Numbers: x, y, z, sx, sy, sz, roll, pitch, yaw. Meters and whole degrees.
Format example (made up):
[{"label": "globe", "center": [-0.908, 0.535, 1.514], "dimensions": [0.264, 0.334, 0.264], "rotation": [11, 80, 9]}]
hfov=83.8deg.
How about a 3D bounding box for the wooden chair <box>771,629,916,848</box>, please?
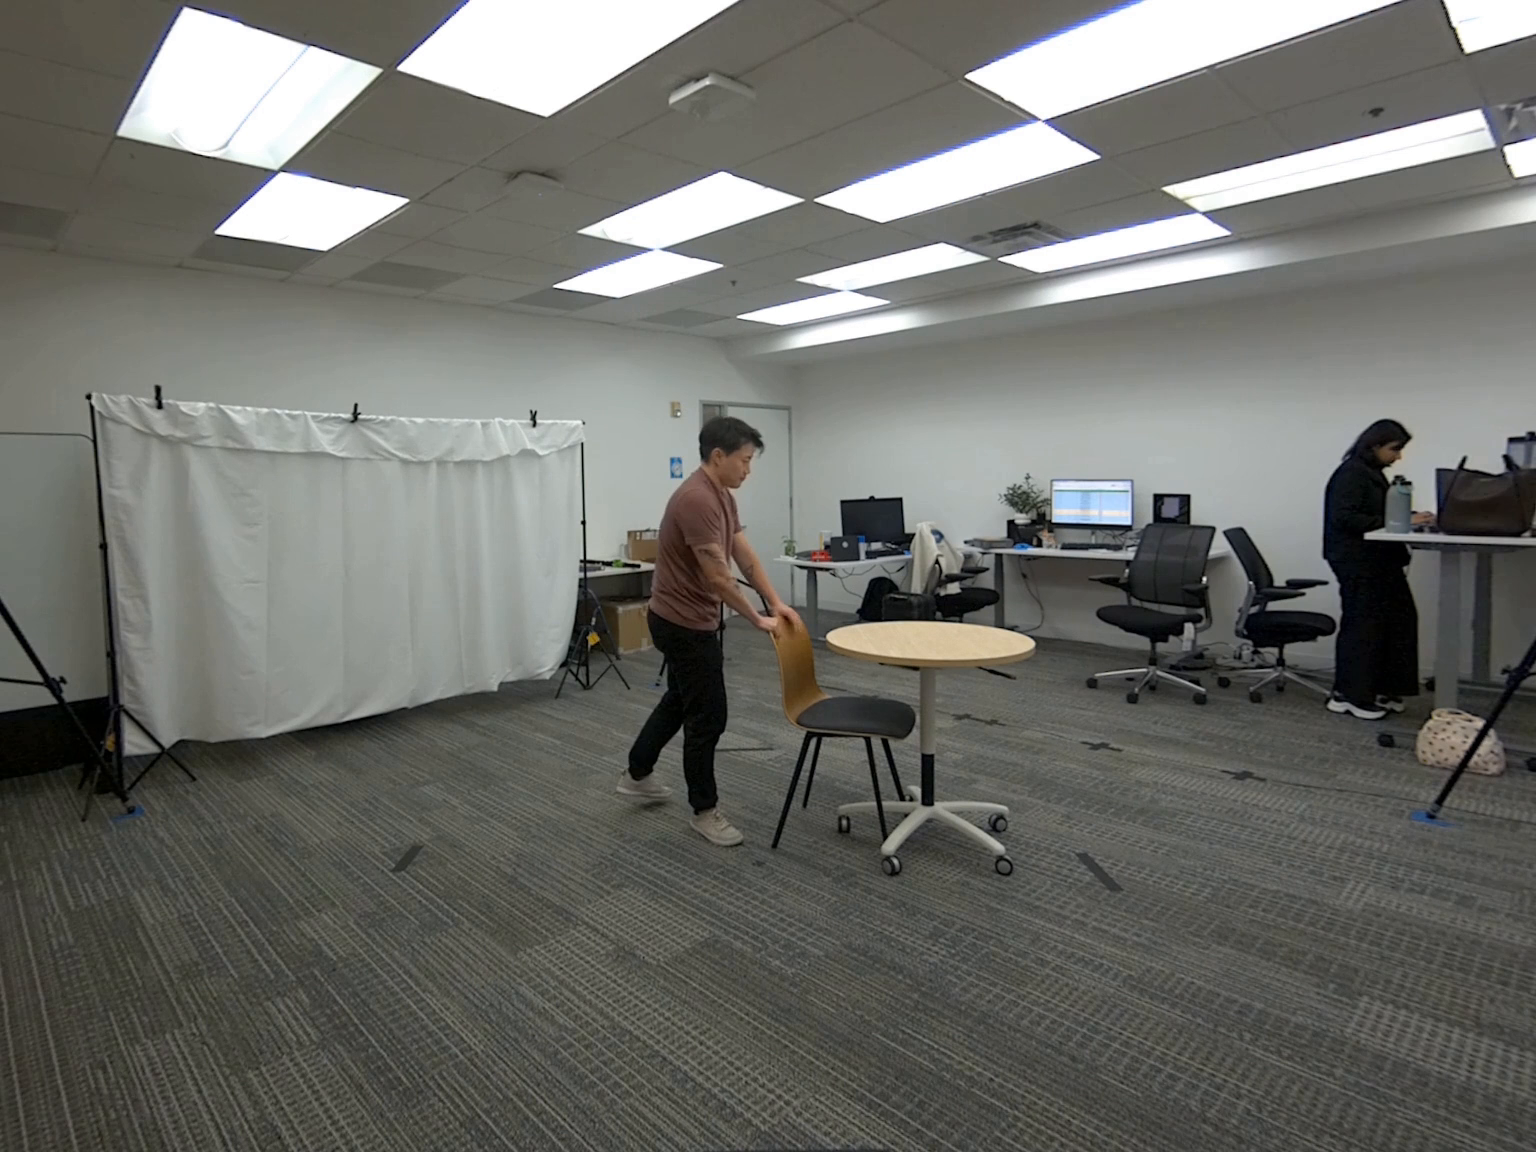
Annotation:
[{"label": "wooden chair", "center": [0.295, 0.584, 3.323], "dimensions": [0.533, 0.876, 0.470], "rotation": [-4, 2, 21]}]
